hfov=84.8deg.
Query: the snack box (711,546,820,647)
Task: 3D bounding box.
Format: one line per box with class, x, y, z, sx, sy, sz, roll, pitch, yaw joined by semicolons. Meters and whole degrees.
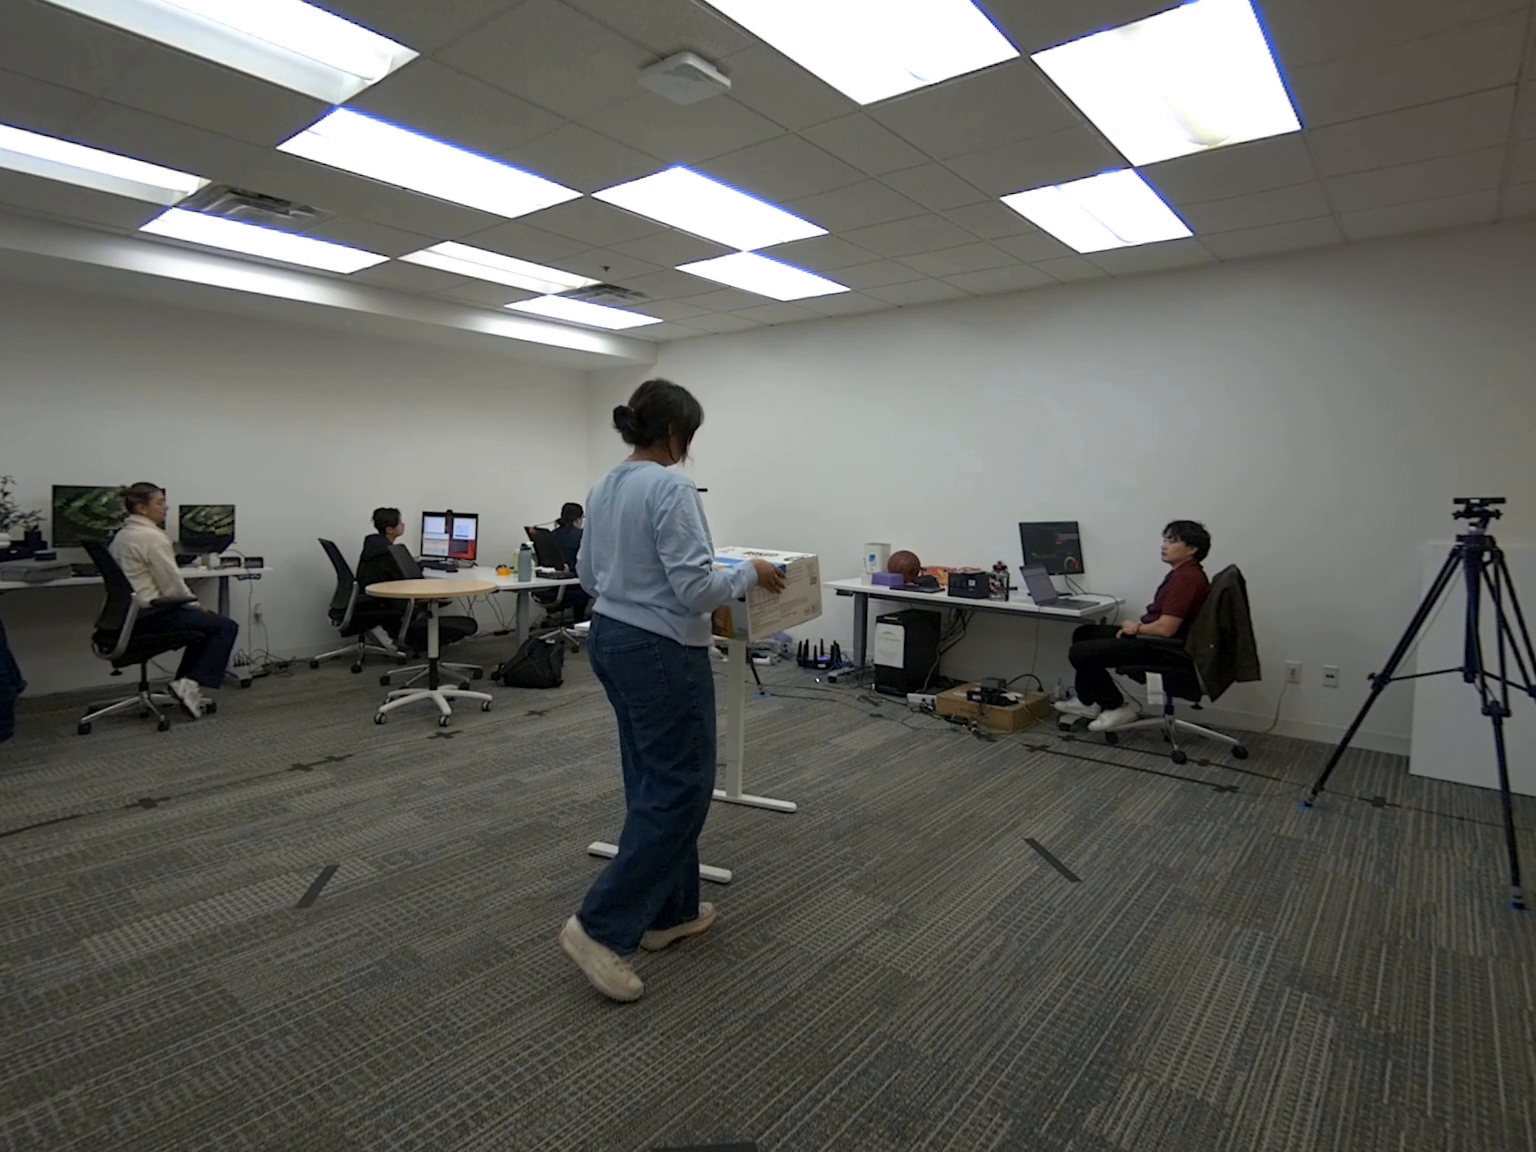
snack box;-0.105;0.051;2.749;0.332;0.203;0.419;-17;16;-43
